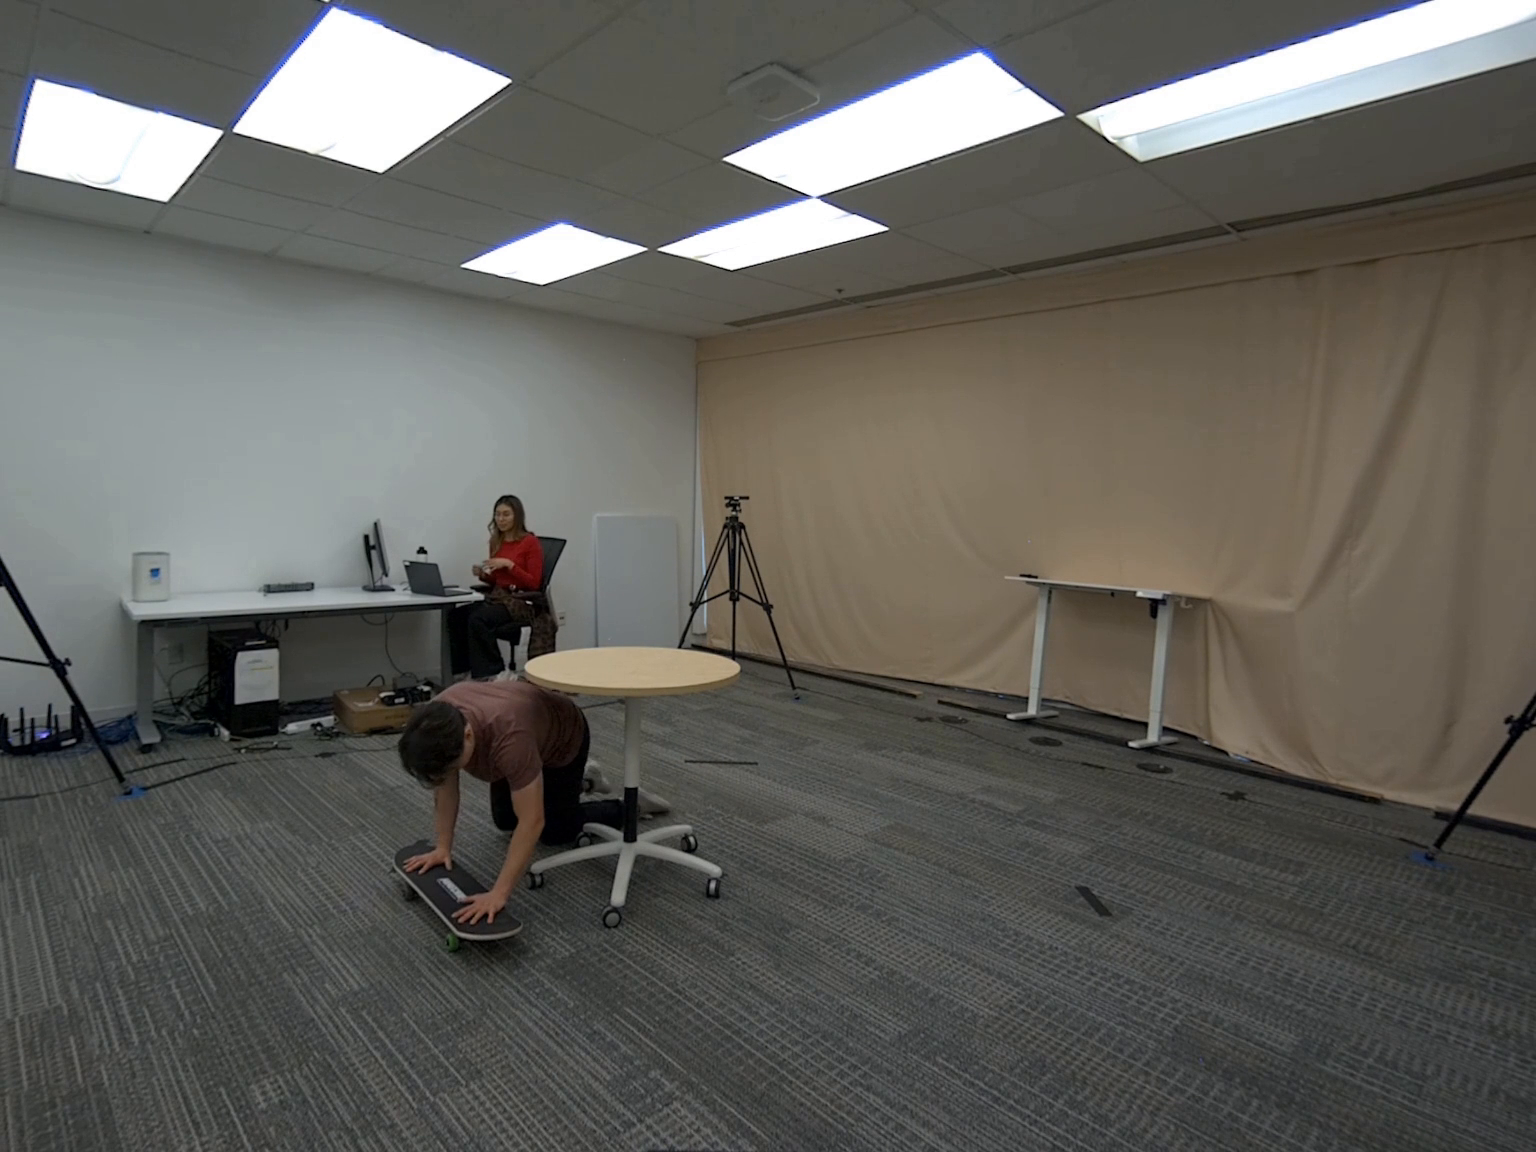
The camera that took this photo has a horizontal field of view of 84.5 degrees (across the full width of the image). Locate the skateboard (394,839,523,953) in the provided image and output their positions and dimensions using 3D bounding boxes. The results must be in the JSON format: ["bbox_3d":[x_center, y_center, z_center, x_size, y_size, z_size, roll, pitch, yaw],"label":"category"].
[{"bbox_3d":[-1.035,1.056,2.753,0.189,0.110,0.806,1,5,-39],"label":"skateboard"}]
